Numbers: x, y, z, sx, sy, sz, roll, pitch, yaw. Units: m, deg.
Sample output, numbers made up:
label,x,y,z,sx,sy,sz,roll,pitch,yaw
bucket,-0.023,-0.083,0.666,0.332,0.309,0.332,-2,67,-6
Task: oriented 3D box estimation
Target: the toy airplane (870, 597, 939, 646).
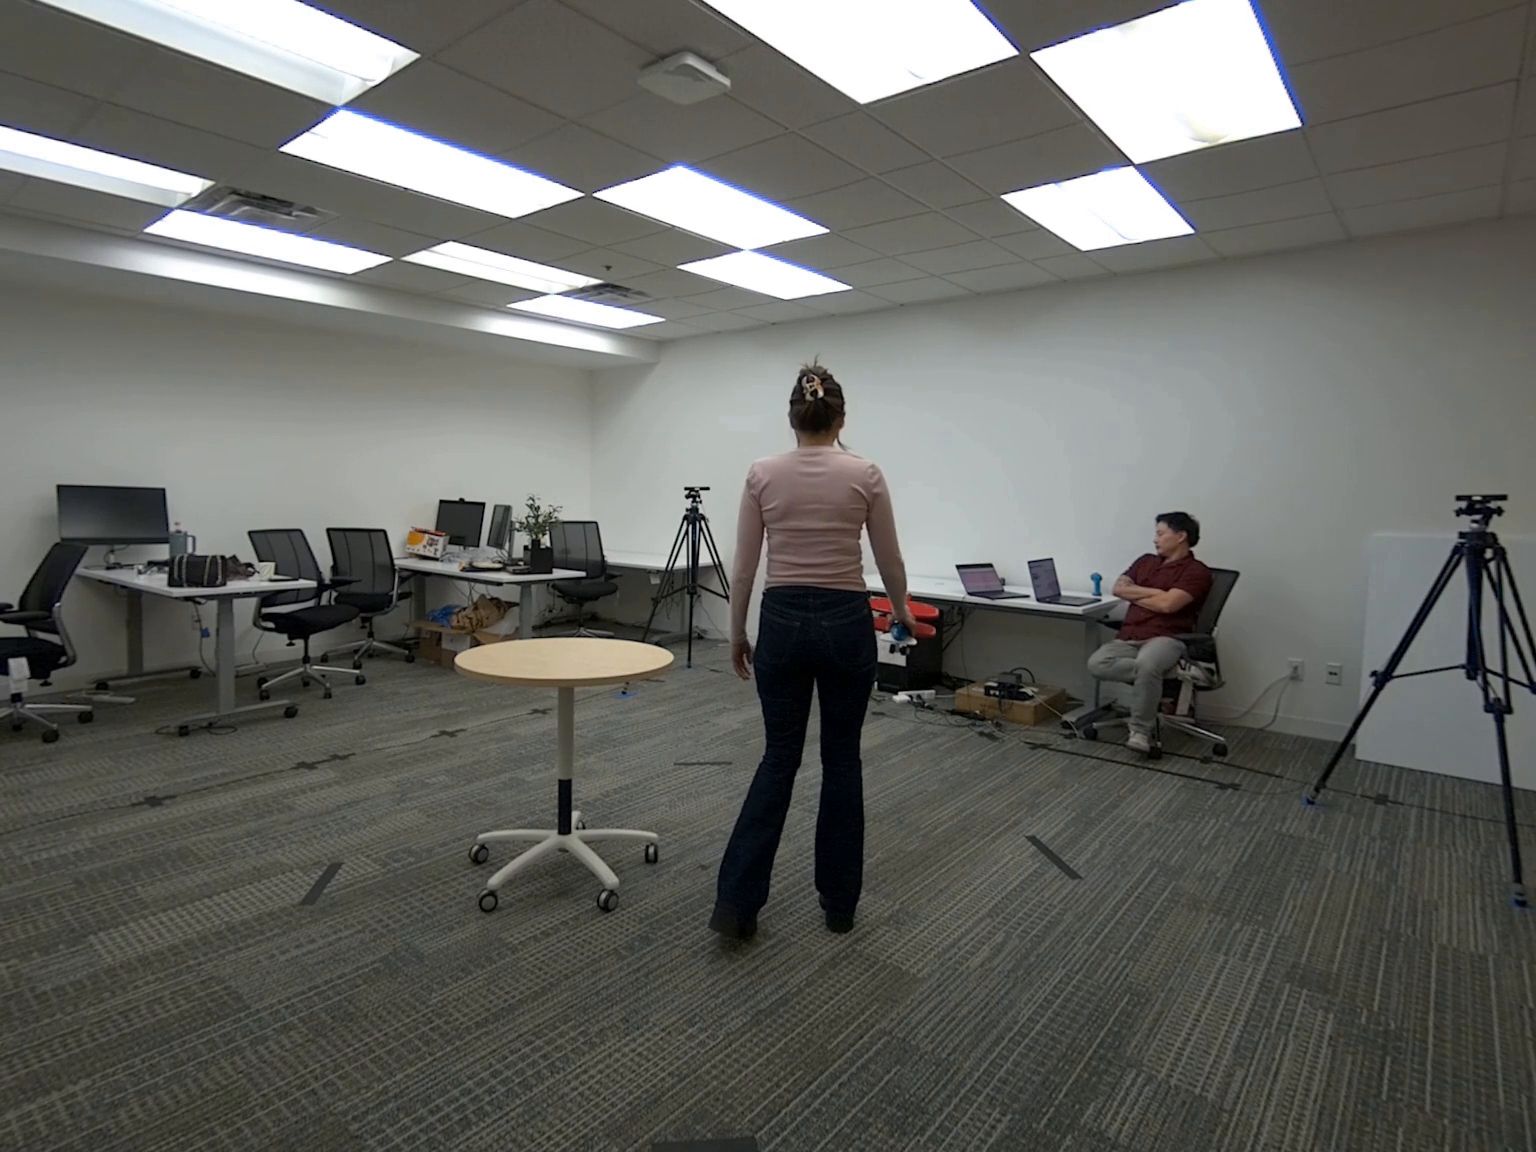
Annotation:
label,x,y,z,sx,sy,sz,roll,pitch,yaw
toy airplane,0.479,0.176,3.022,0.246,0.155,0.266,2,12,-18
